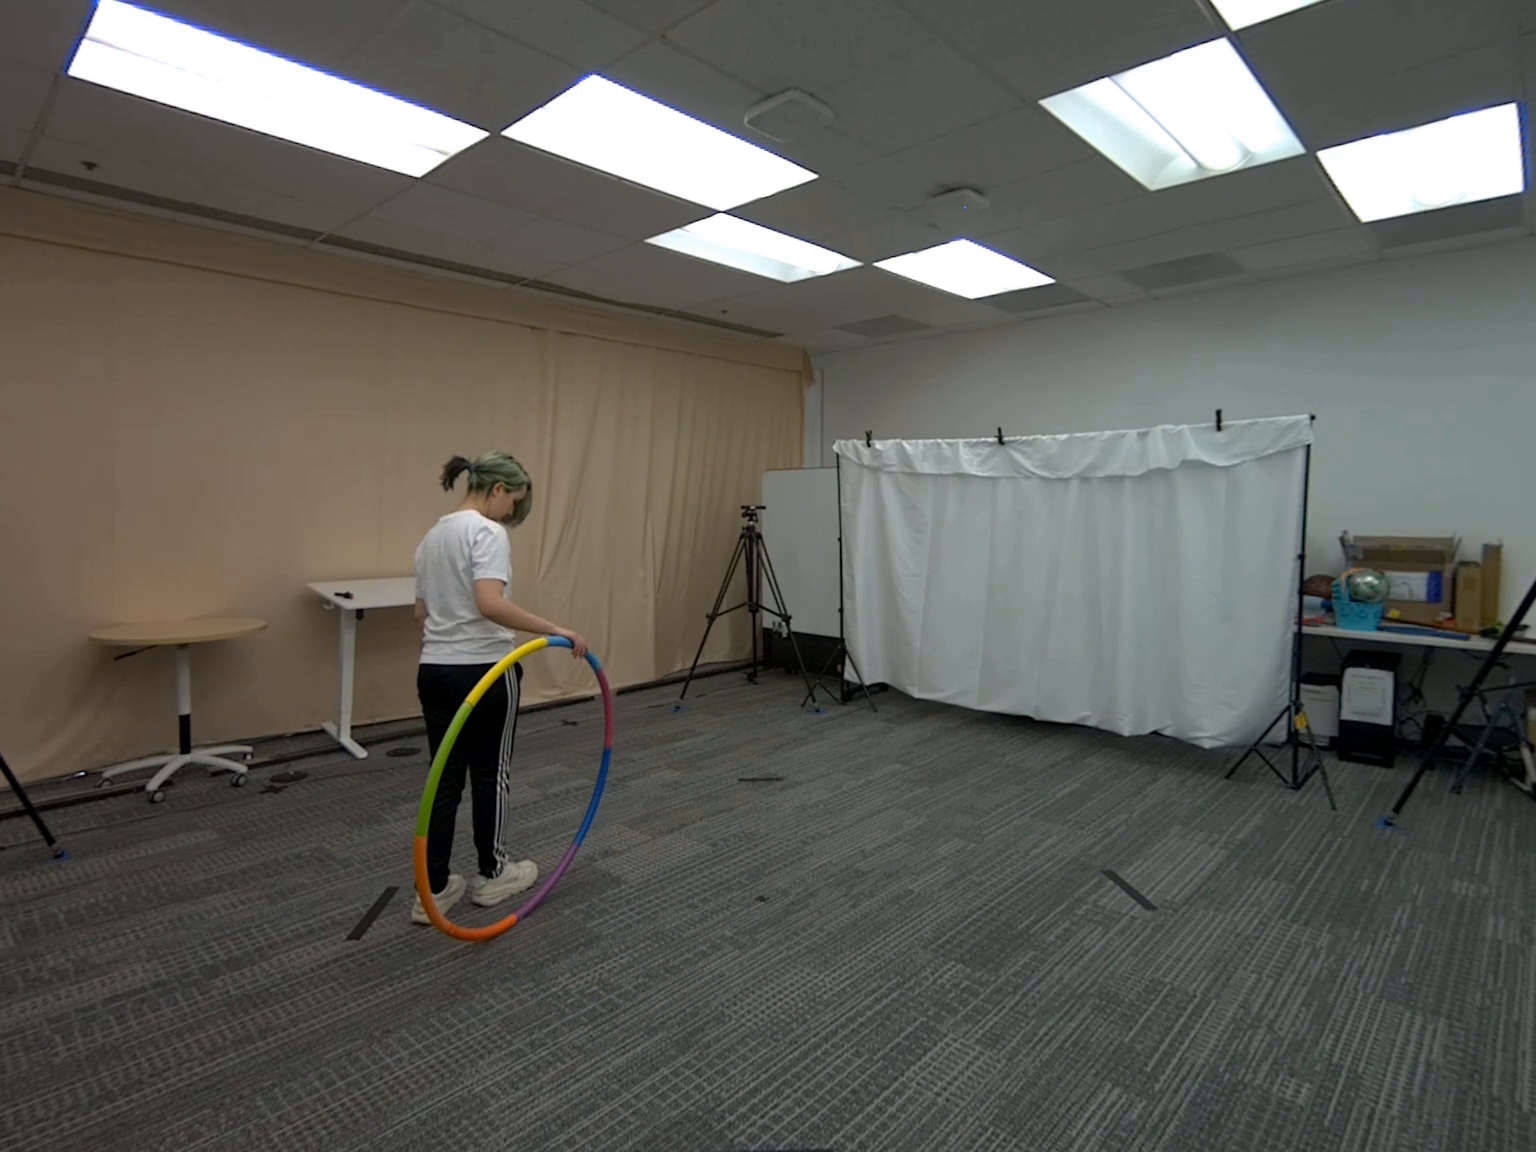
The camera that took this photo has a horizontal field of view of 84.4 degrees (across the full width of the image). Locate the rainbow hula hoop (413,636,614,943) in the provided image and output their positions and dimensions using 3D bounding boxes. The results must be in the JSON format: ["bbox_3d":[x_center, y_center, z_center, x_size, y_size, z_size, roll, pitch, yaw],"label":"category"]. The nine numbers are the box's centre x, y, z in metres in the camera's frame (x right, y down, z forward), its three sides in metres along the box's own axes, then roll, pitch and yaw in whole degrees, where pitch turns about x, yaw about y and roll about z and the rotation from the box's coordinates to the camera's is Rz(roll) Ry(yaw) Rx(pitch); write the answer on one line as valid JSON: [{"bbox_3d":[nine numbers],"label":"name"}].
[{"bbox_3d":[-0.780,0.685,2.771,0.036,0.975,0.958,11,8,21],"label":"rainbow hula hoop"}]
